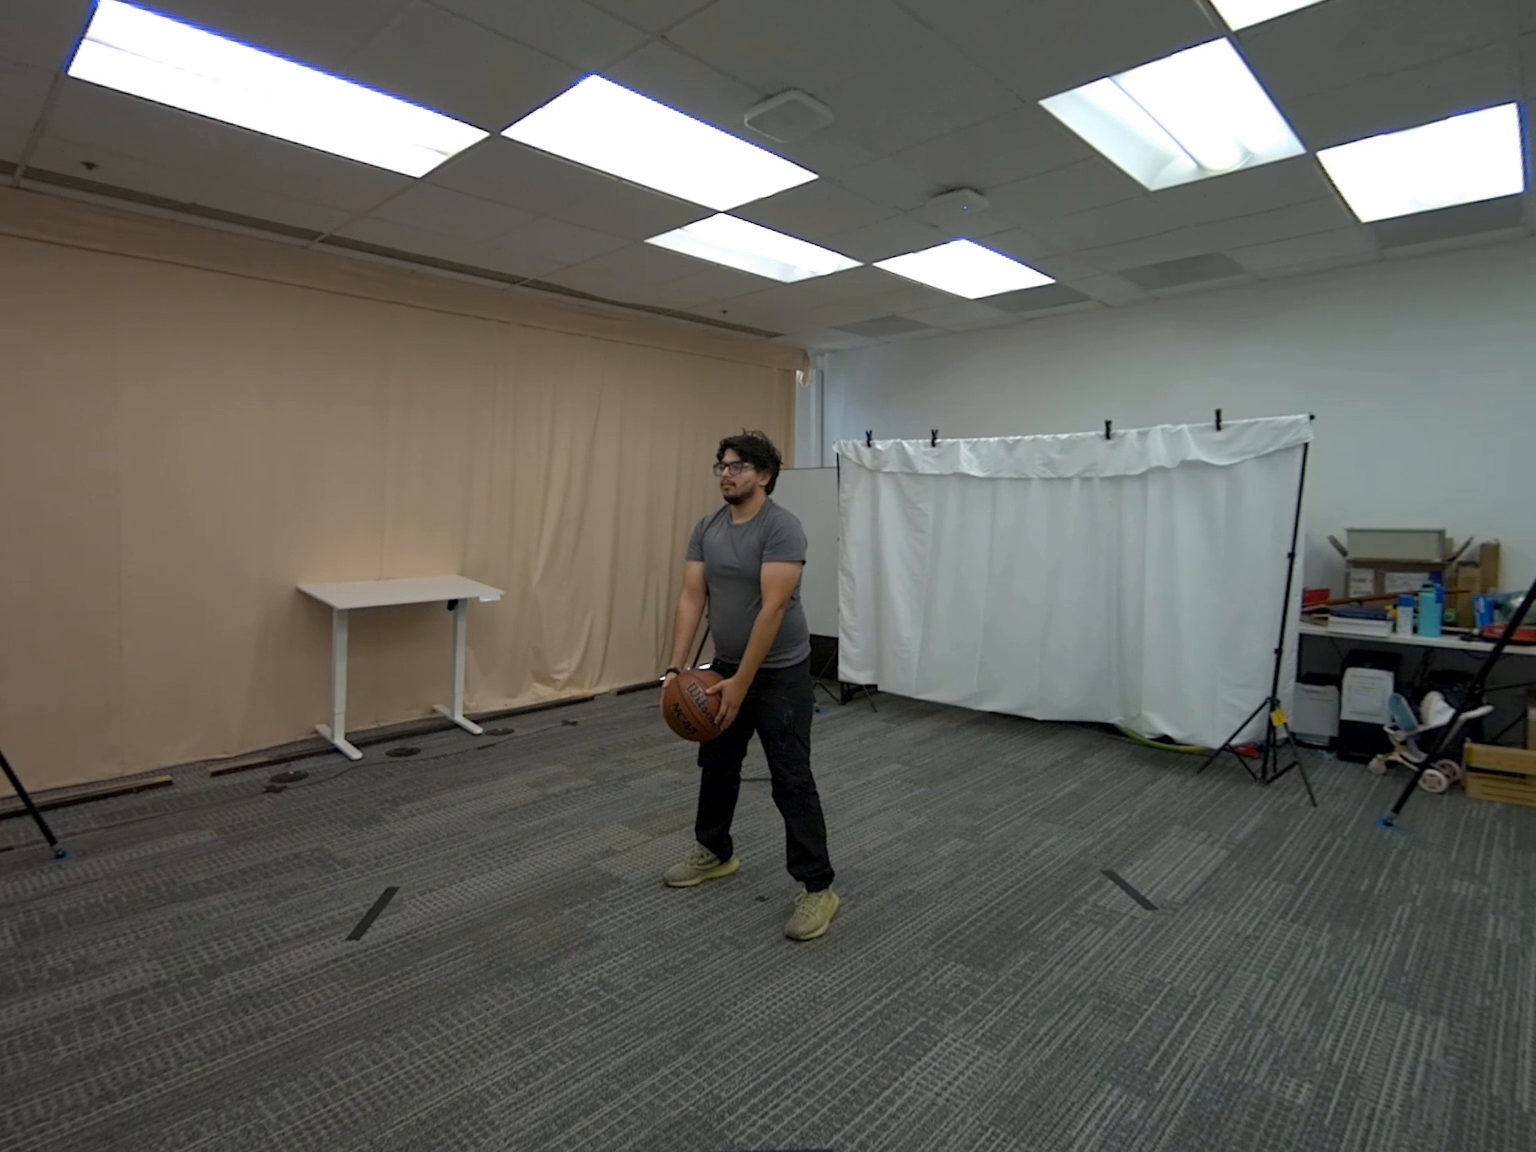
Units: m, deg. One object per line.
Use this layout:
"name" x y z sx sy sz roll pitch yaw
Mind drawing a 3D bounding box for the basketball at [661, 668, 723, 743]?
"basketball" -0.226 0.418 2.763 0.236 0.235 0.237 0 4 -2
